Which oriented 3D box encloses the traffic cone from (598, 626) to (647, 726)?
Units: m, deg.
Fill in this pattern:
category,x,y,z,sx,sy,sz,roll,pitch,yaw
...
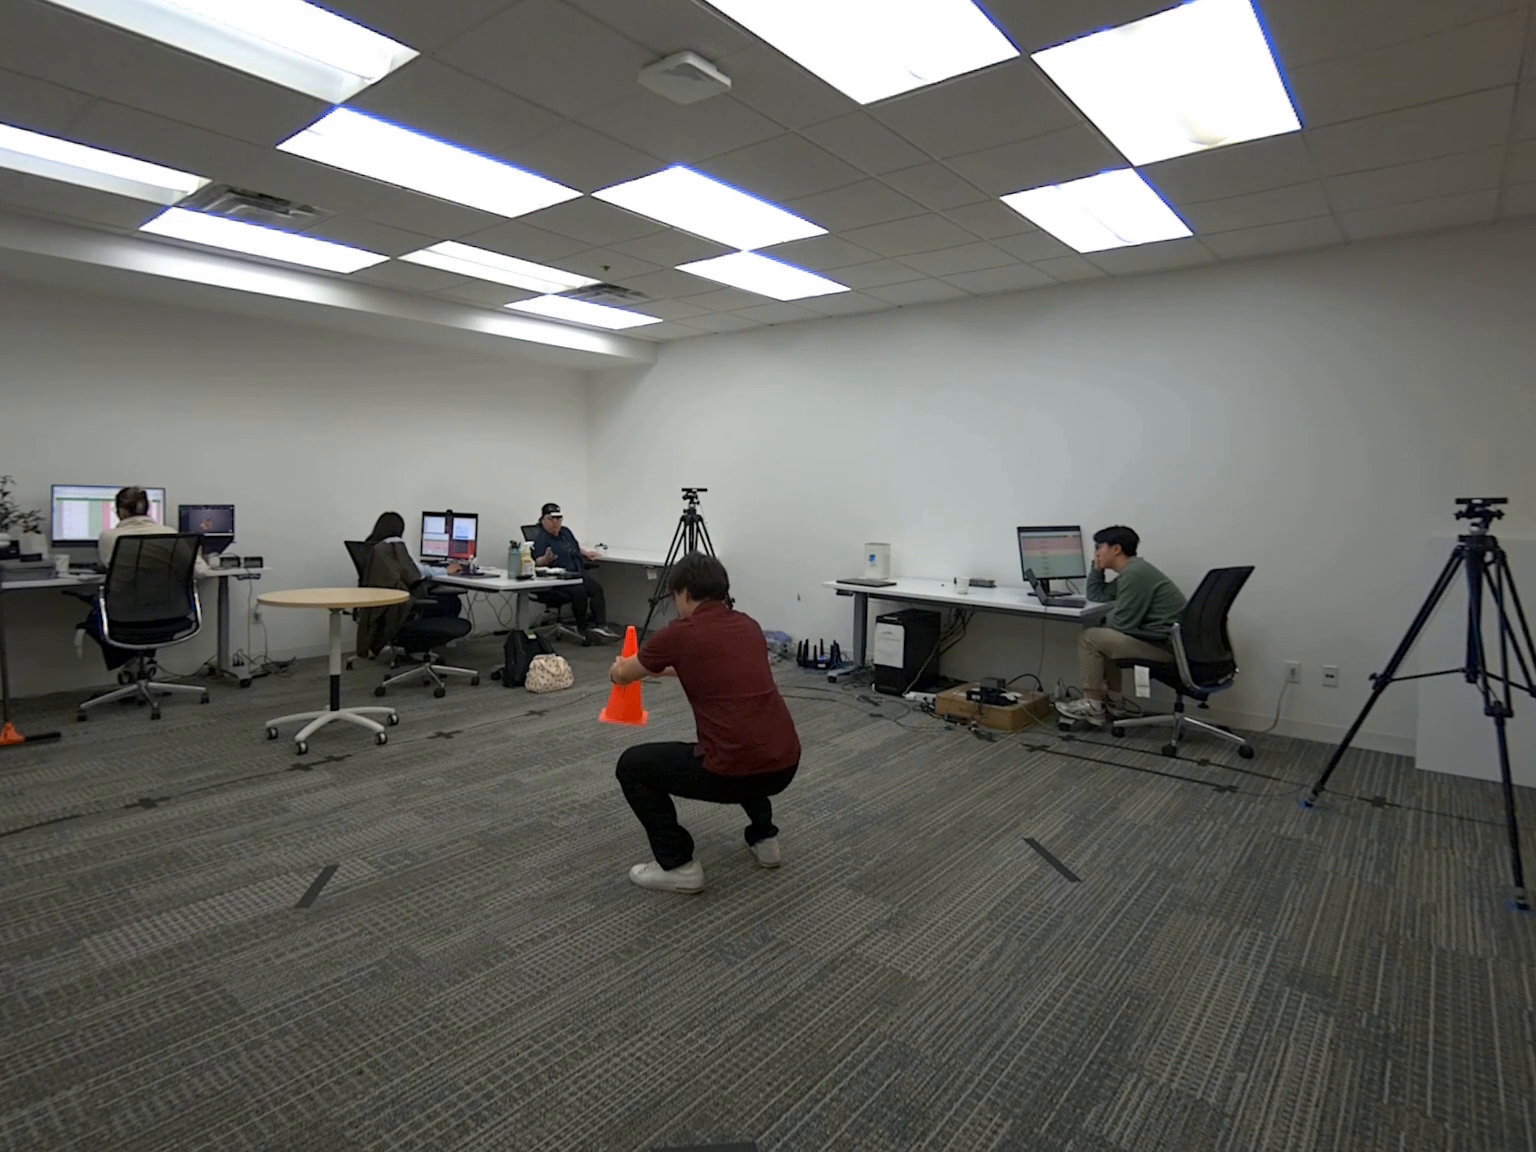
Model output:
category,x,y,z,sx,sy,sz,roll,pitch,yaw
traffic cone,-0.596,0.399,3.540,0.203,0.382,0.206,6,5,-1
